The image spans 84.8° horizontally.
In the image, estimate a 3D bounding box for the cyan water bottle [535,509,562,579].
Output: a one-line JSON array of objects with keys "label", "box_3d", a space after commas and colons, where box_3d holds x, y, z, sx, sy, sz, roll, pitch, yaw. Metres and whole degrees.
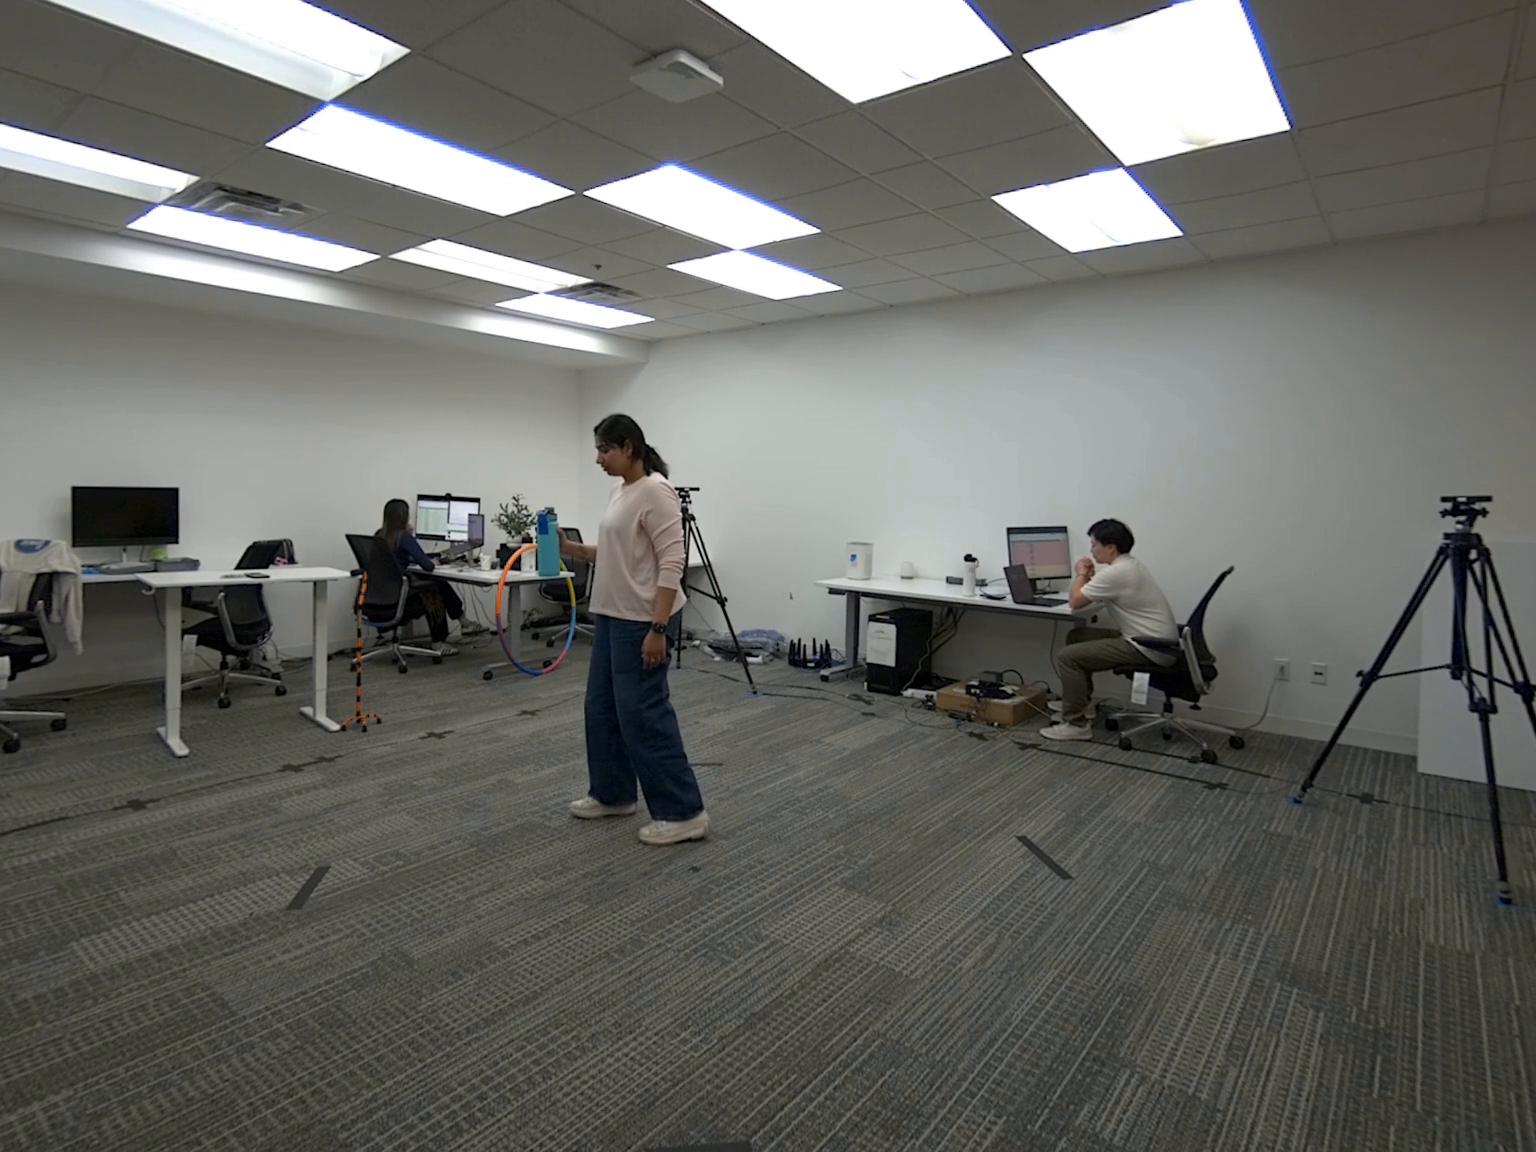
[{"label": "cyan water bottle", "box_3d": [-0.915, -0.145, 3.498, 0.092, 0.281, 0.093, -1, 8, -2]}]
